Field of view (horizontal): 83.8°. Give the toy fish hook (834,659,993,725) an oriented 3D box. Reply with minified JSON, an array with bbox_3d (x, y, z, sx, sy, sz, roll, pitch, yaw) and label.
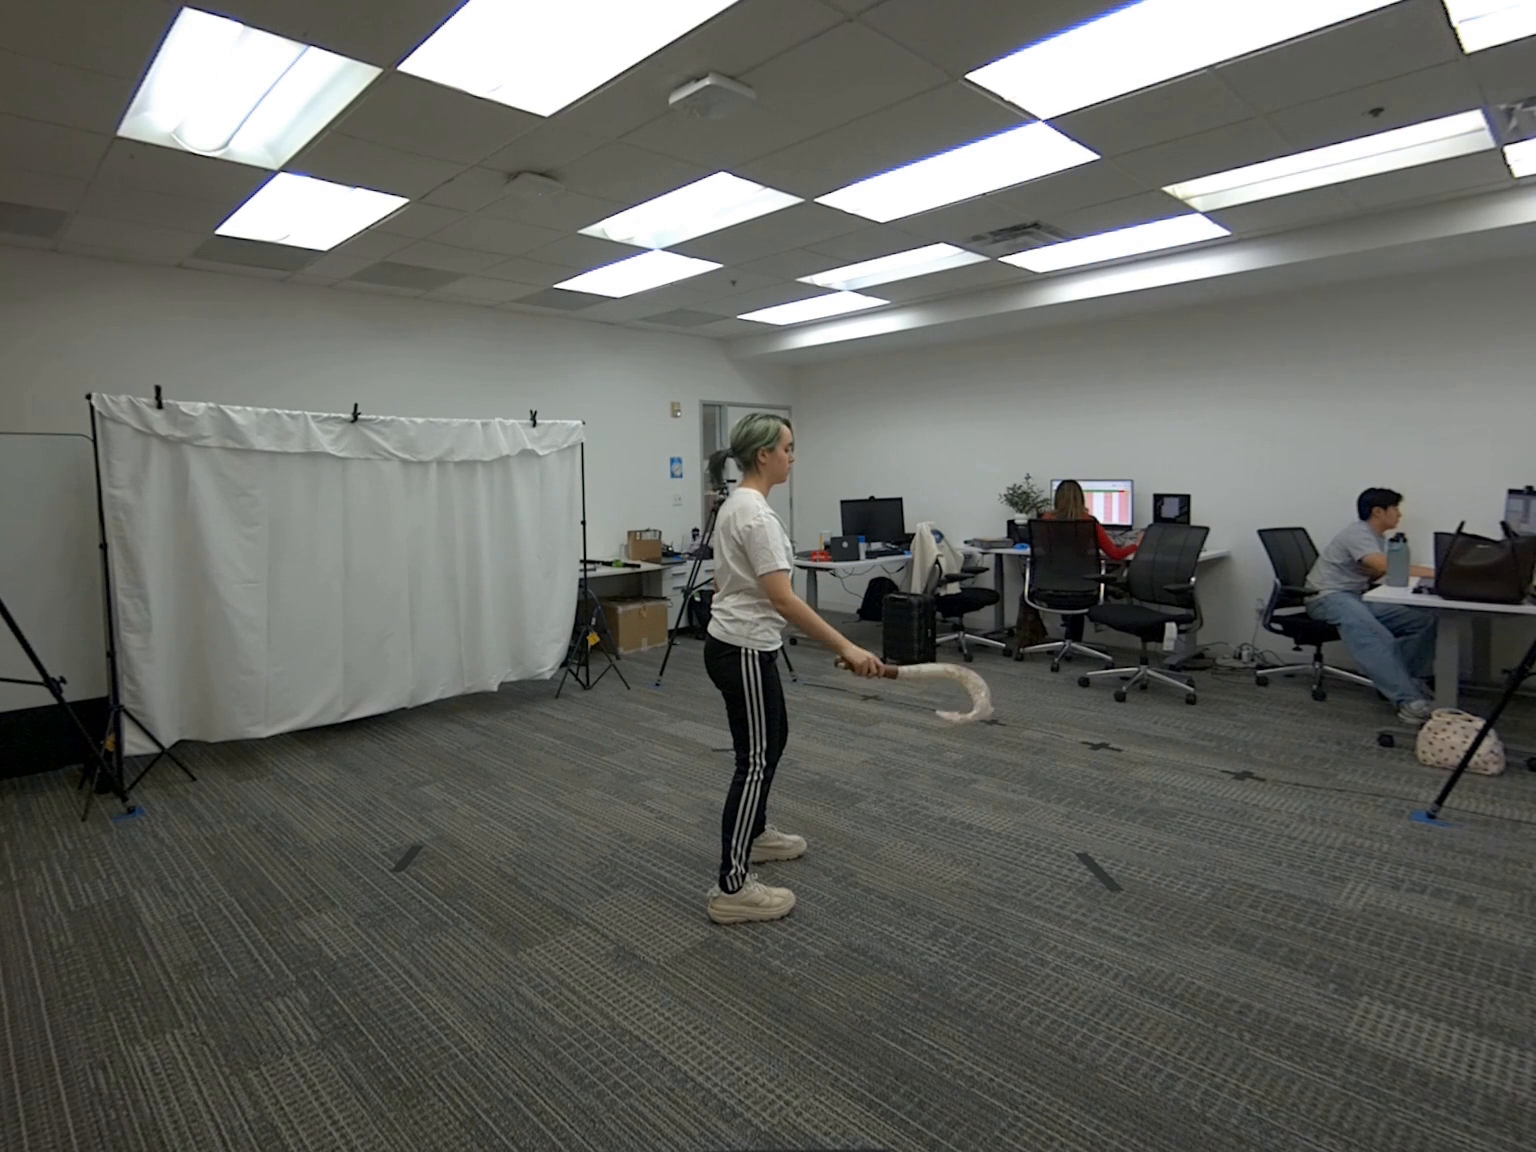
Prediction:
[{"bbox_3d":[0.455,0.323,2.660,0.503,0.047,0.230,8,39,-6],"label":"toy fish hook"}]
